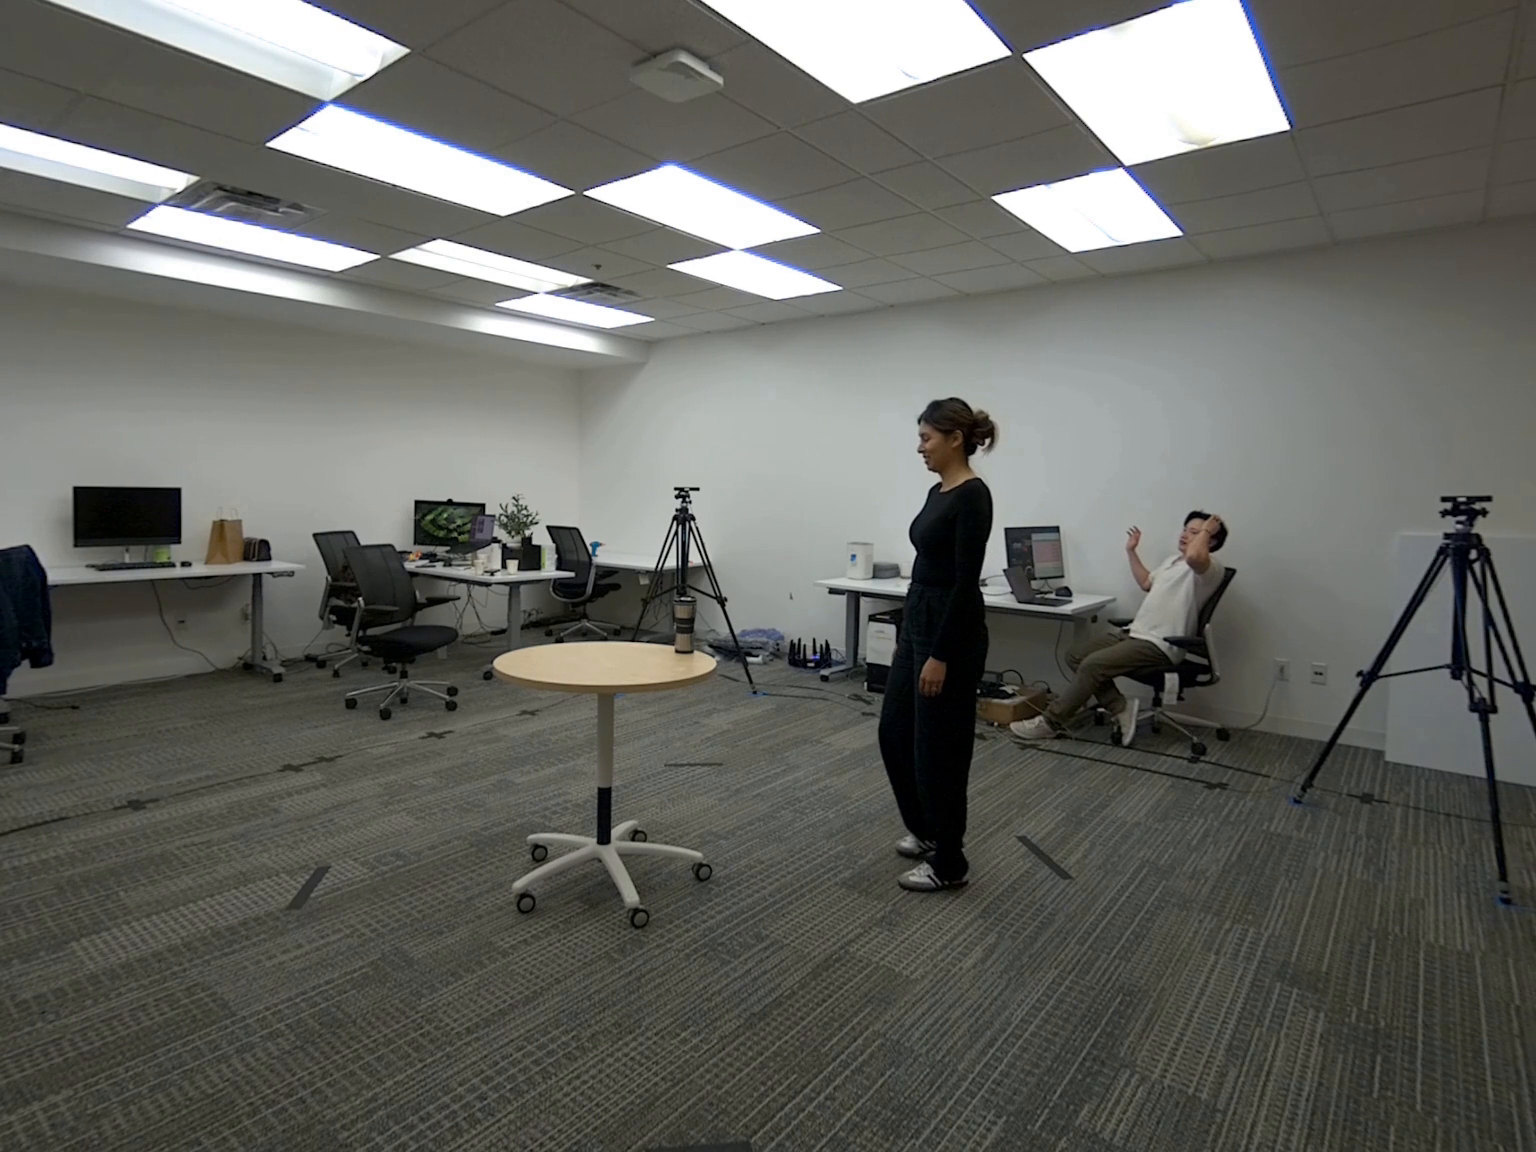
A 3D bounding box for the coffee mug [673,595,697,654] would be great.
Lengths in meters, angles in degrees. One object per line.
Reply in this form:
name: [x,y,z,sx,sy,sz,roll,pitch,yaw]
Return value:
coffee mug: [-0.300,0.181,3.168,0.091,0.202,0.118,4,8,42]
